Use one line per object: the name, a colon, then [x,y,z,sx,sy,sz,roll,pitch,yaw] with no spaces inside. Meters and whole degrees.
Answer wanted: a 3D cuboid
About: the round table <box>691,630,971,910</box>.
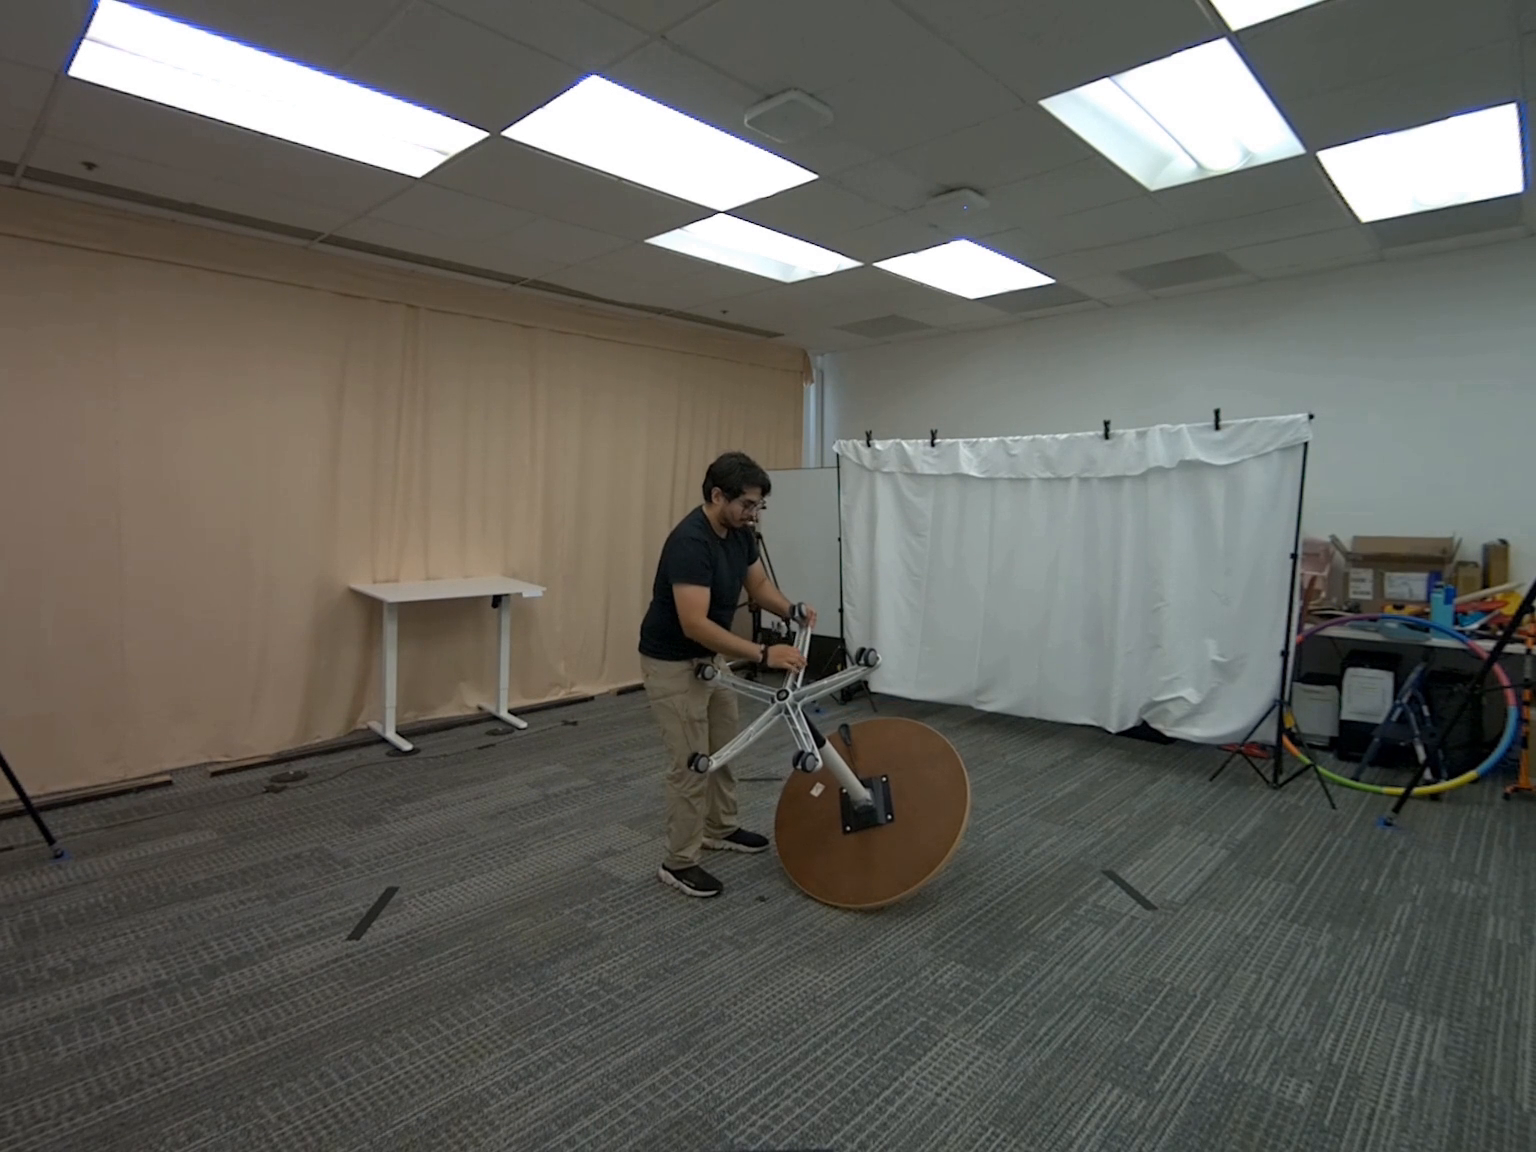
round table: [0.212,0.598,2.917,0.795,0.762,0.800,-23,37,17]
